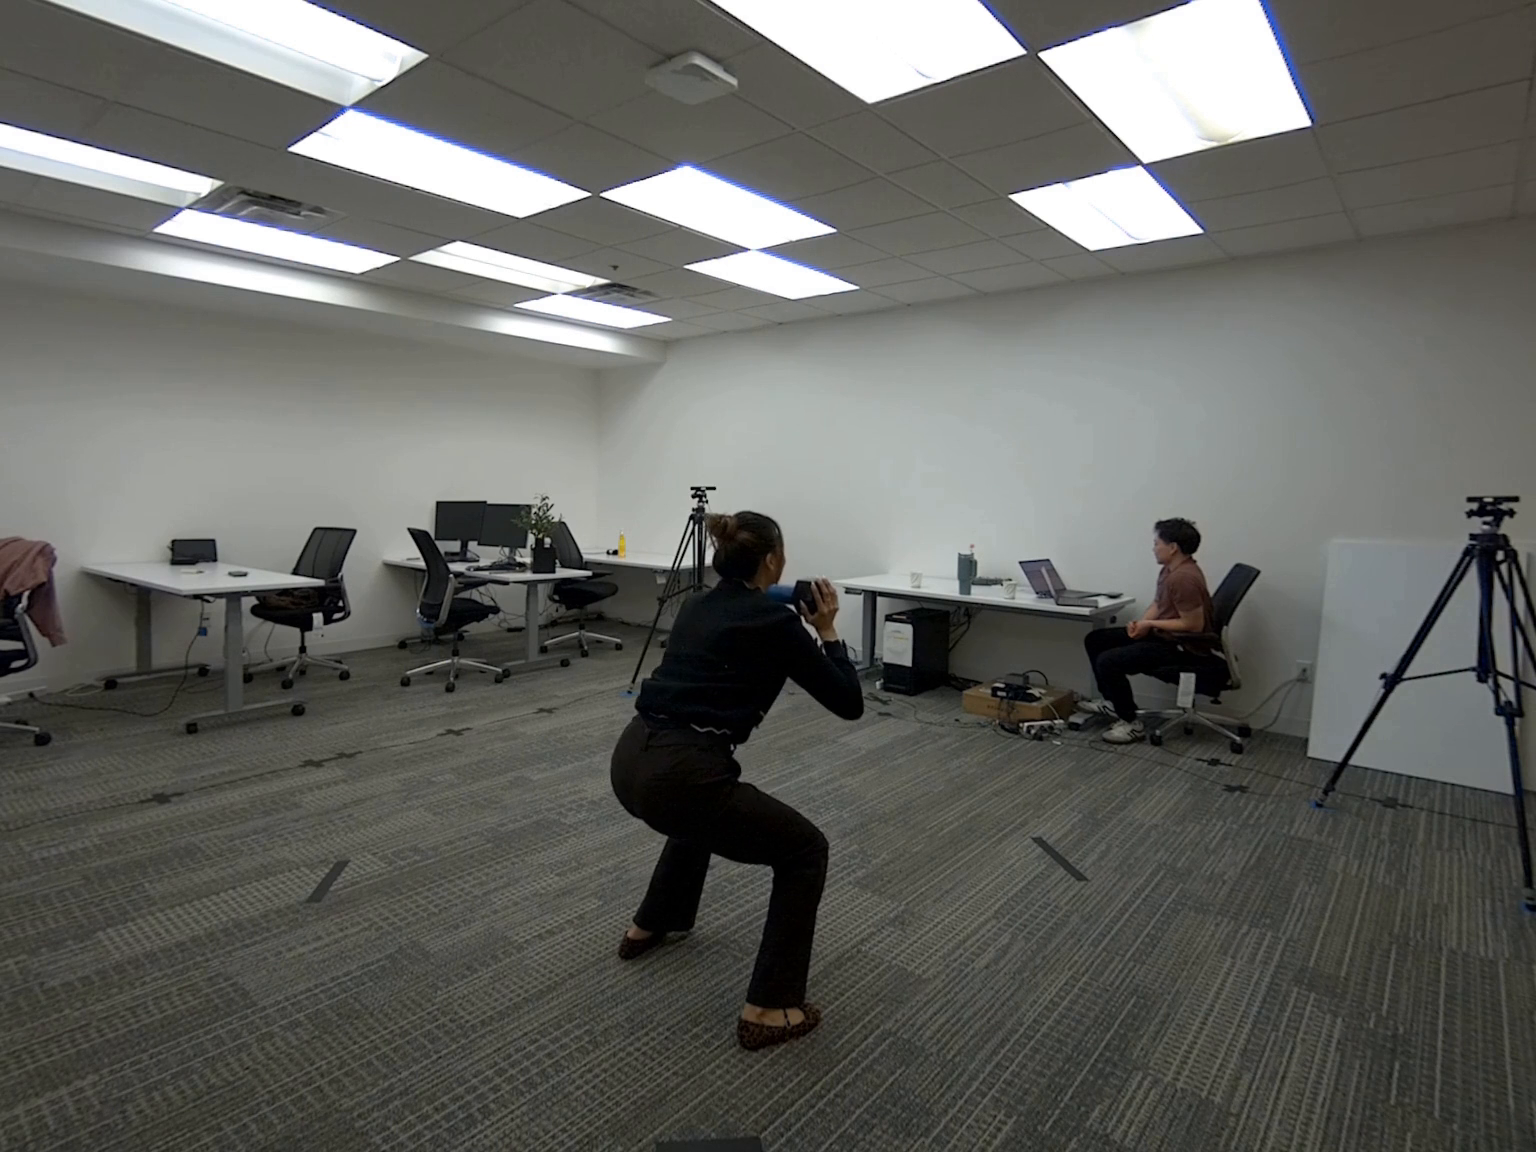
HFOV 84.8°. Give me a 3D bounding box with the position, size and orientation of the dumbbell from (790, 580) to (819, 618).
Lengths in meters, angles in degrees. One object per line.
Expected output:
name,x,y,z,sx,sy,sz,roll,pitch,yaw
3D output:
dumbbell,0.045,0.054,2.532,0.303,0.119,0.108,3,39,48
